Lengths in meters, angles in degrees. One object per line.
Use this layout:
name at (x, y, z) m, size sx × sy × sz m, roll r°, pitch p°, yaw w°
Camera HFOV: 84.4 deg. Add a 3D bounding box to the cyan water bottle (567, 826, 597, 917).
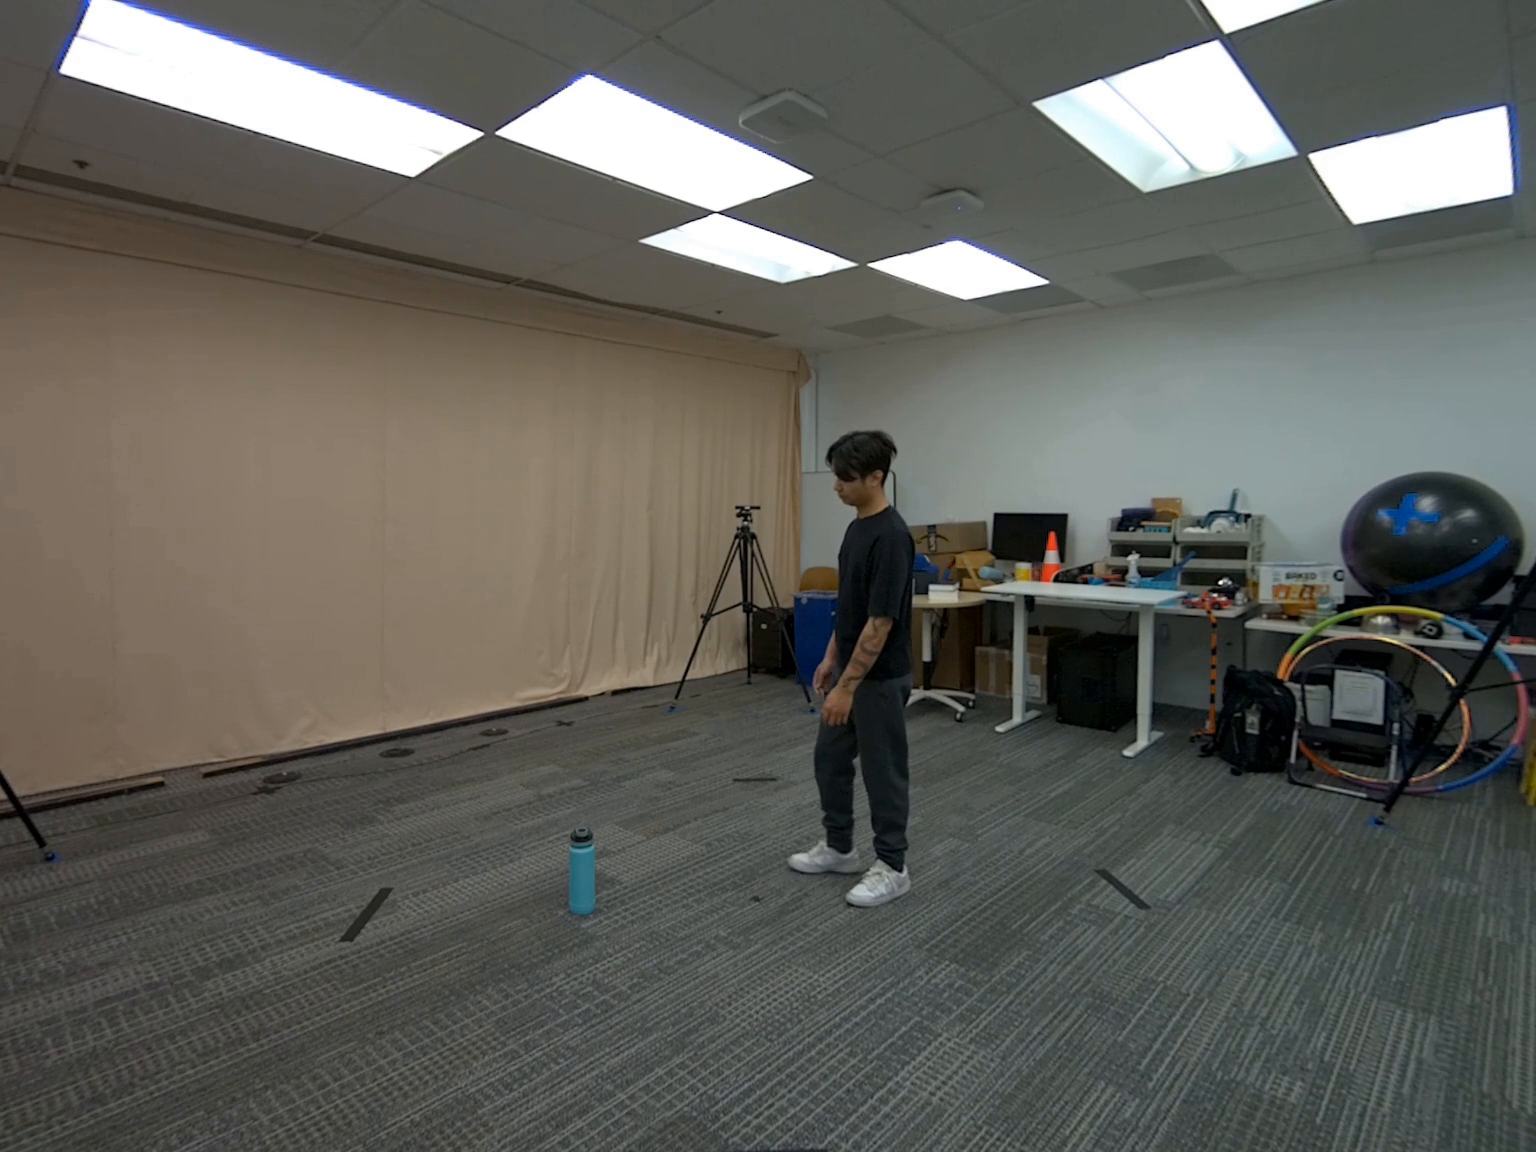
cyan water bottle at (-0.646, 1.019, 2.914) m, size 0.092 × 0.283 × 0.092 m, roll 0°, pitch 1°, yaw -2°
